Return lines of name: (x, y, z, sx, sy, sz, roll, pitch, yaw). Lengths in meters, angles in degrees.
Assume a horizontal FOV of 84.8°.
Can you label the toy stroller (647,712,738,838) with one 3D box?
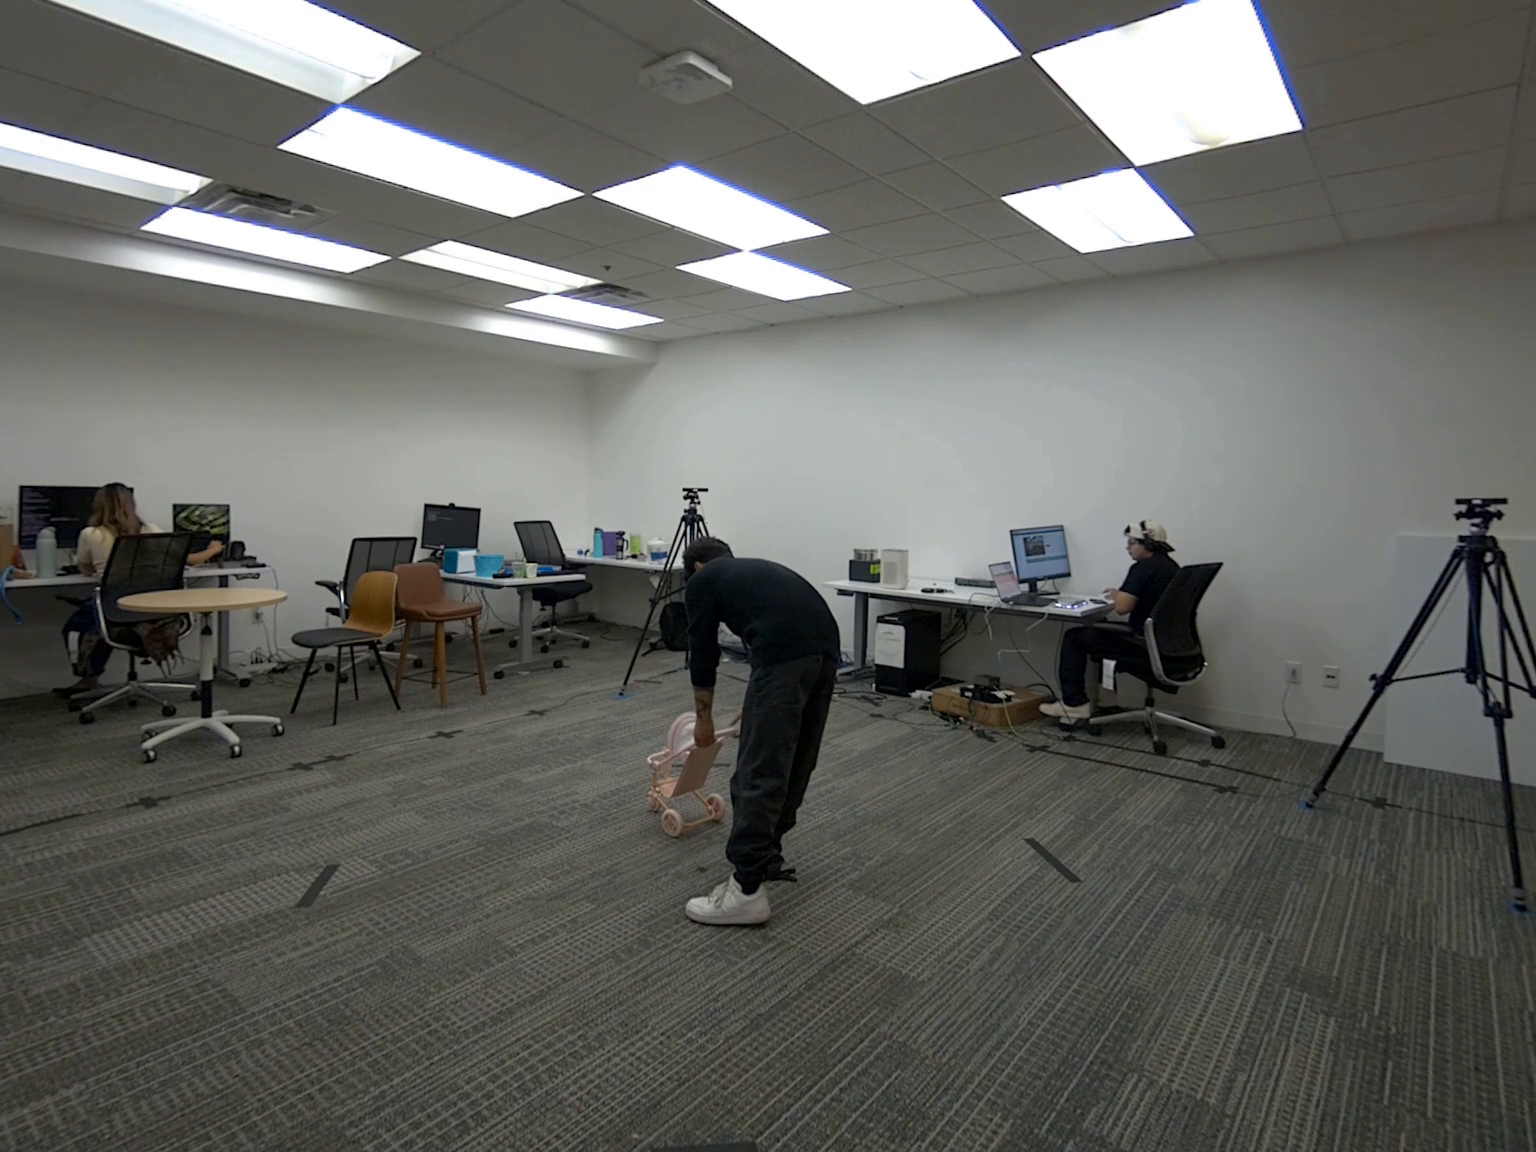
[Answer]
toy stroller: (-0.356, 0.800, 3.526, 0.273, 0.529, 0.355, -2, 20, -43)
